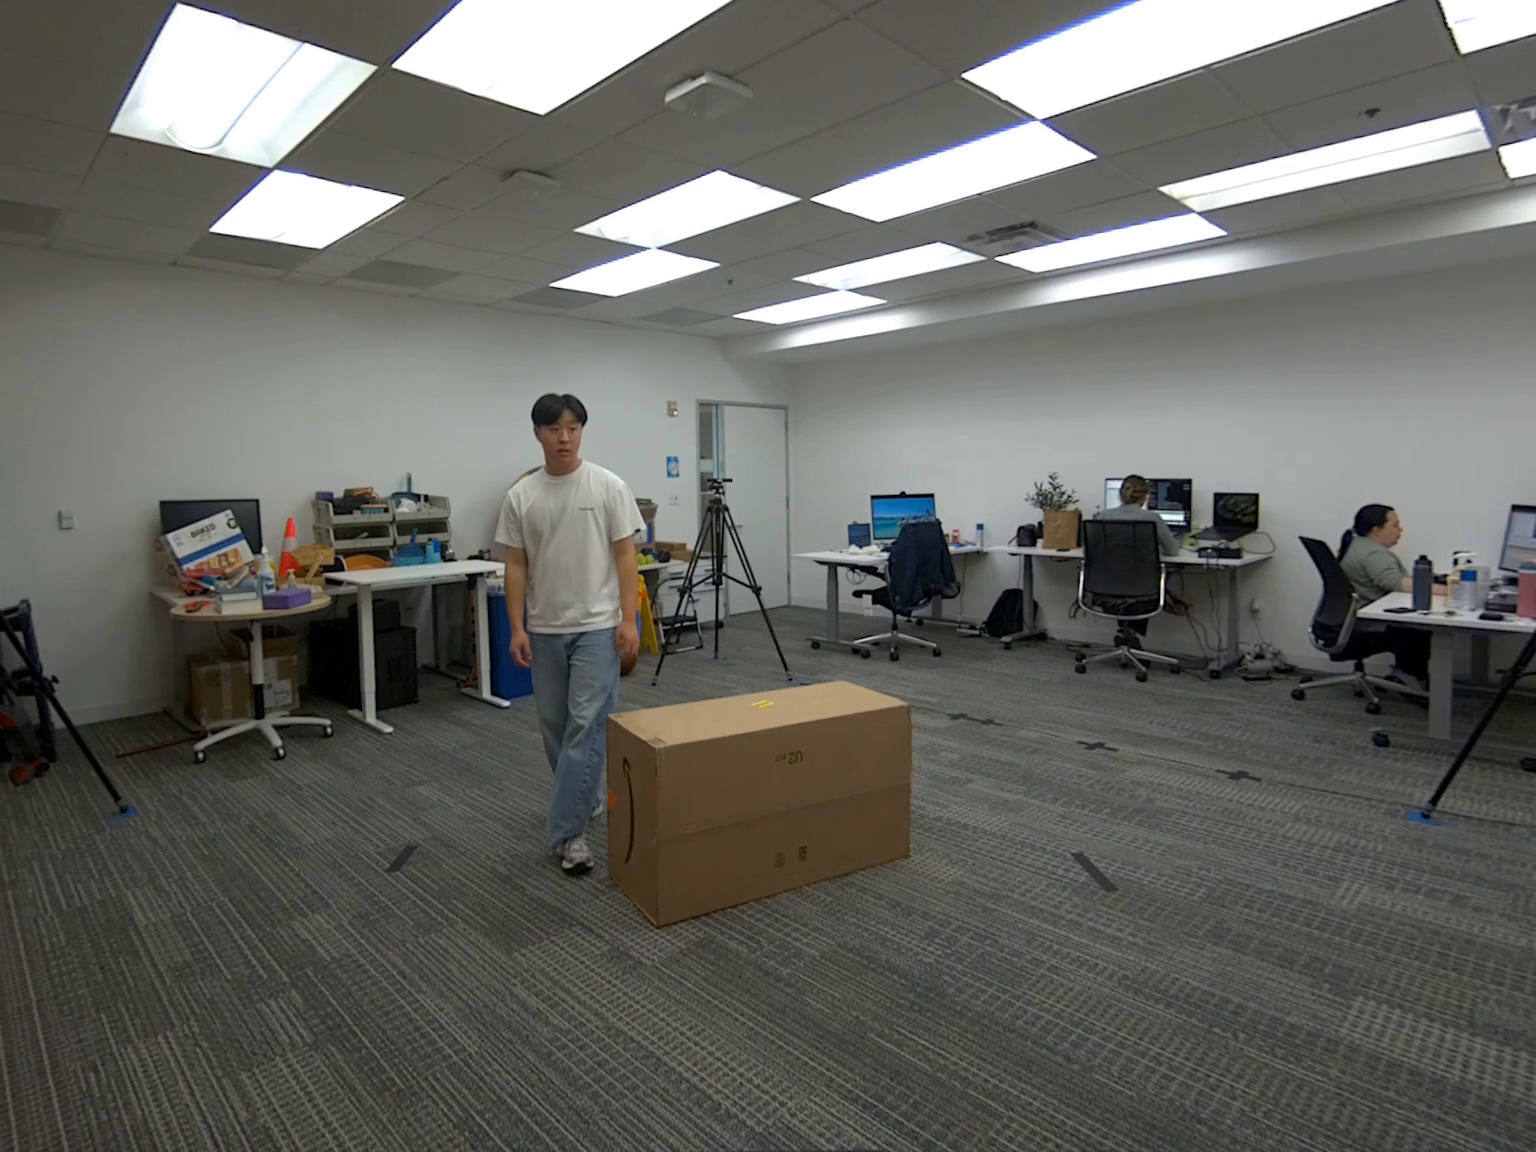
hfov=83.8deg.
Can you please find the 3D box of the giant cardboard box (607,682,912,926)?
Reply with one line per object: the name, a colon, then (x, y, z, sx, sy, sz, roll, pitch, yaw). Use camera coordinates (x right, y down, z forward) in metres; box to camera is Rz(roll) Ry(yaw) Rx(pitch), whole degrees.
giant cardboard box: (-0.021, 0.760, 3.064, 1.003, 0.575, 0.438, -4, 6, -29)
